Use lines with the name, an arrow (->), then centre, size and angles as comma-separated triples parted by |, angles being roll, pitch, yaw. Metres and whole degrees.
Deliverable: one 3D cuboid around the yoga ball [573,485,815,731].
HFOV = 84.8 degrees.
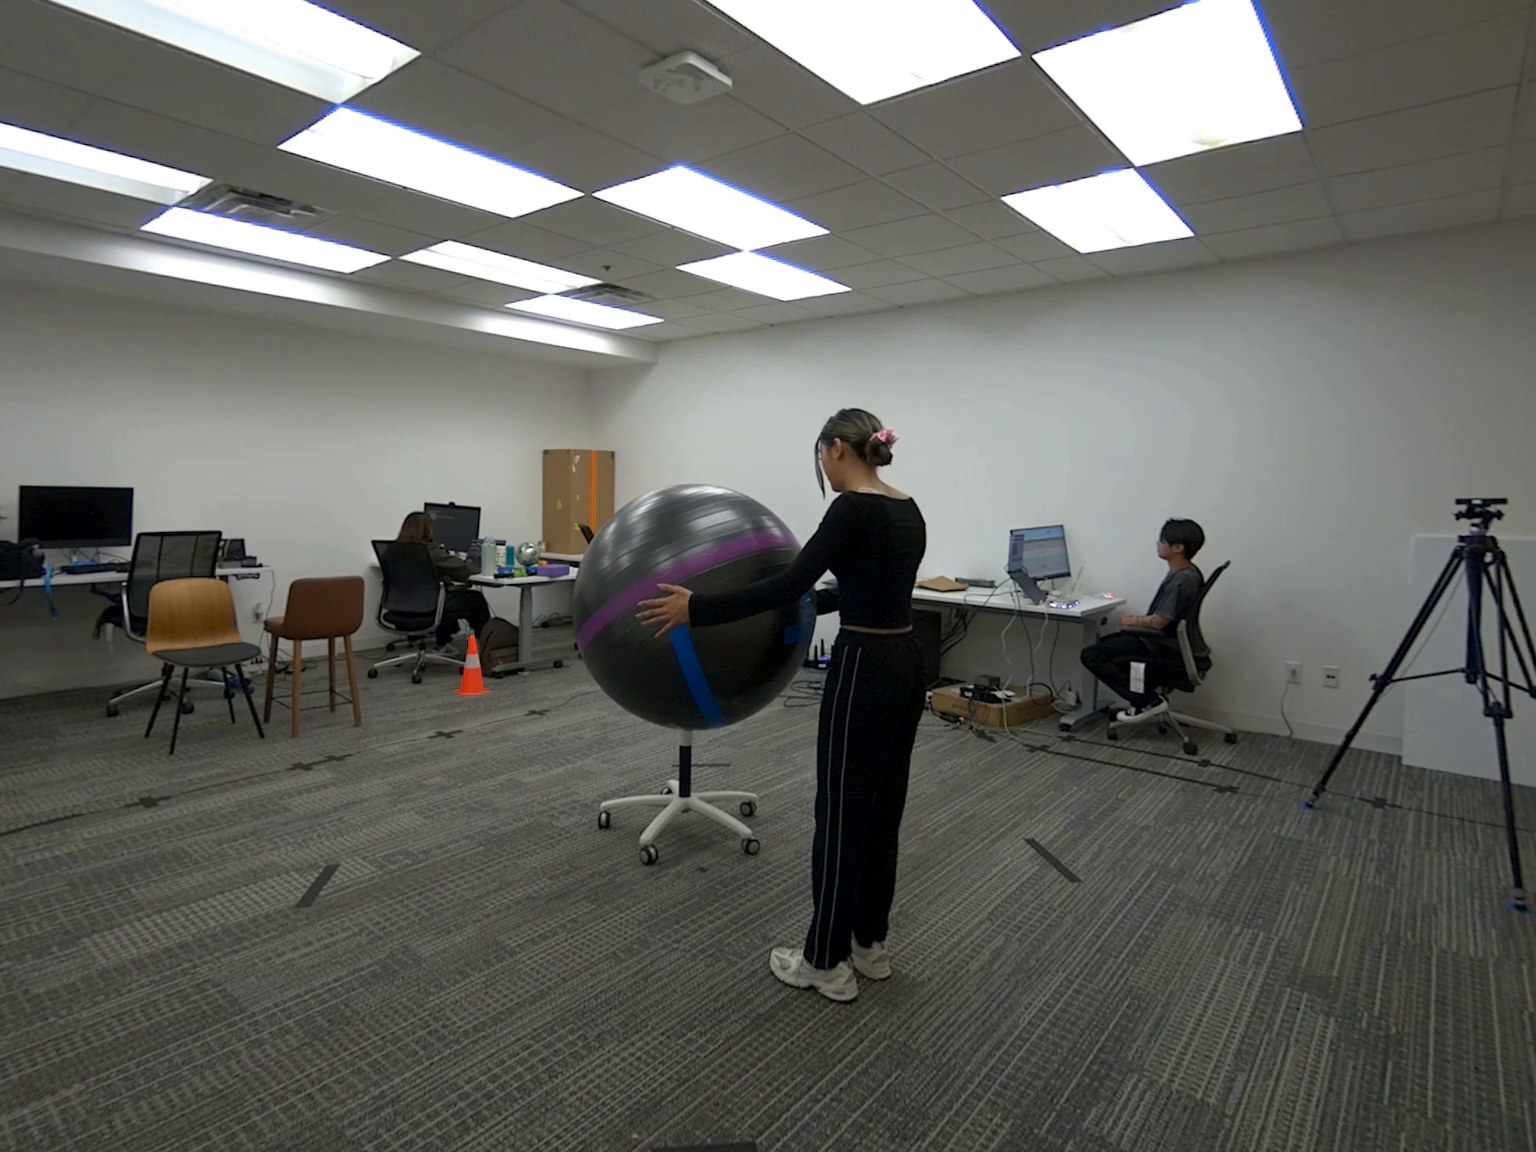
yoga ball -> -0.247, 0.103, 2.641 | 0.757, 0.756, 0.762 | 1, 4, -2
